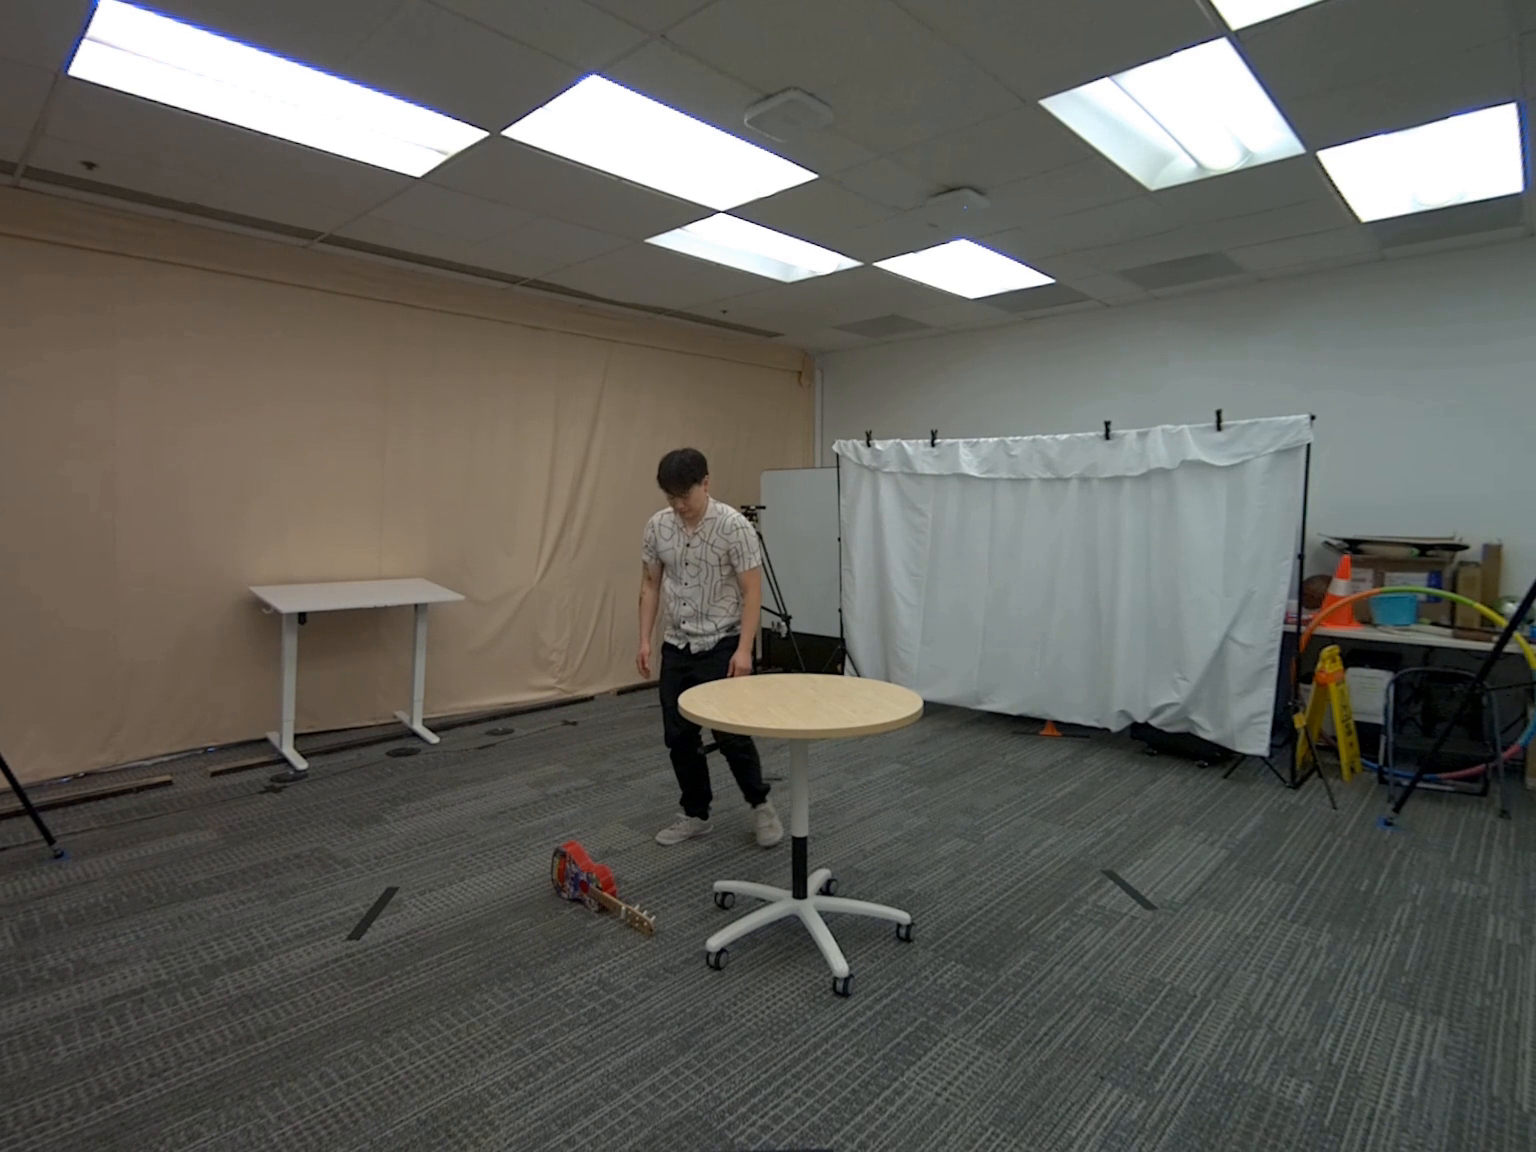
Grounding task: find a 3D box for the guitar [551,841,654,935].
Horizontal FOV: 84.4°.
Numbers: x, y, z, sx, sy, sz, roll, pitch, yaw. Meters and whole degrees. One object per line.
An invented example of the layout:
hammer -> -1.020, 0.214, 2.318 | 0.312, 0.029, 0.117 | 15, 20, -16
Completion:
guitar -> -0.566, 1.108, 2.901 | 0.515, 0.192, 0.069 | 24, 20, 33
